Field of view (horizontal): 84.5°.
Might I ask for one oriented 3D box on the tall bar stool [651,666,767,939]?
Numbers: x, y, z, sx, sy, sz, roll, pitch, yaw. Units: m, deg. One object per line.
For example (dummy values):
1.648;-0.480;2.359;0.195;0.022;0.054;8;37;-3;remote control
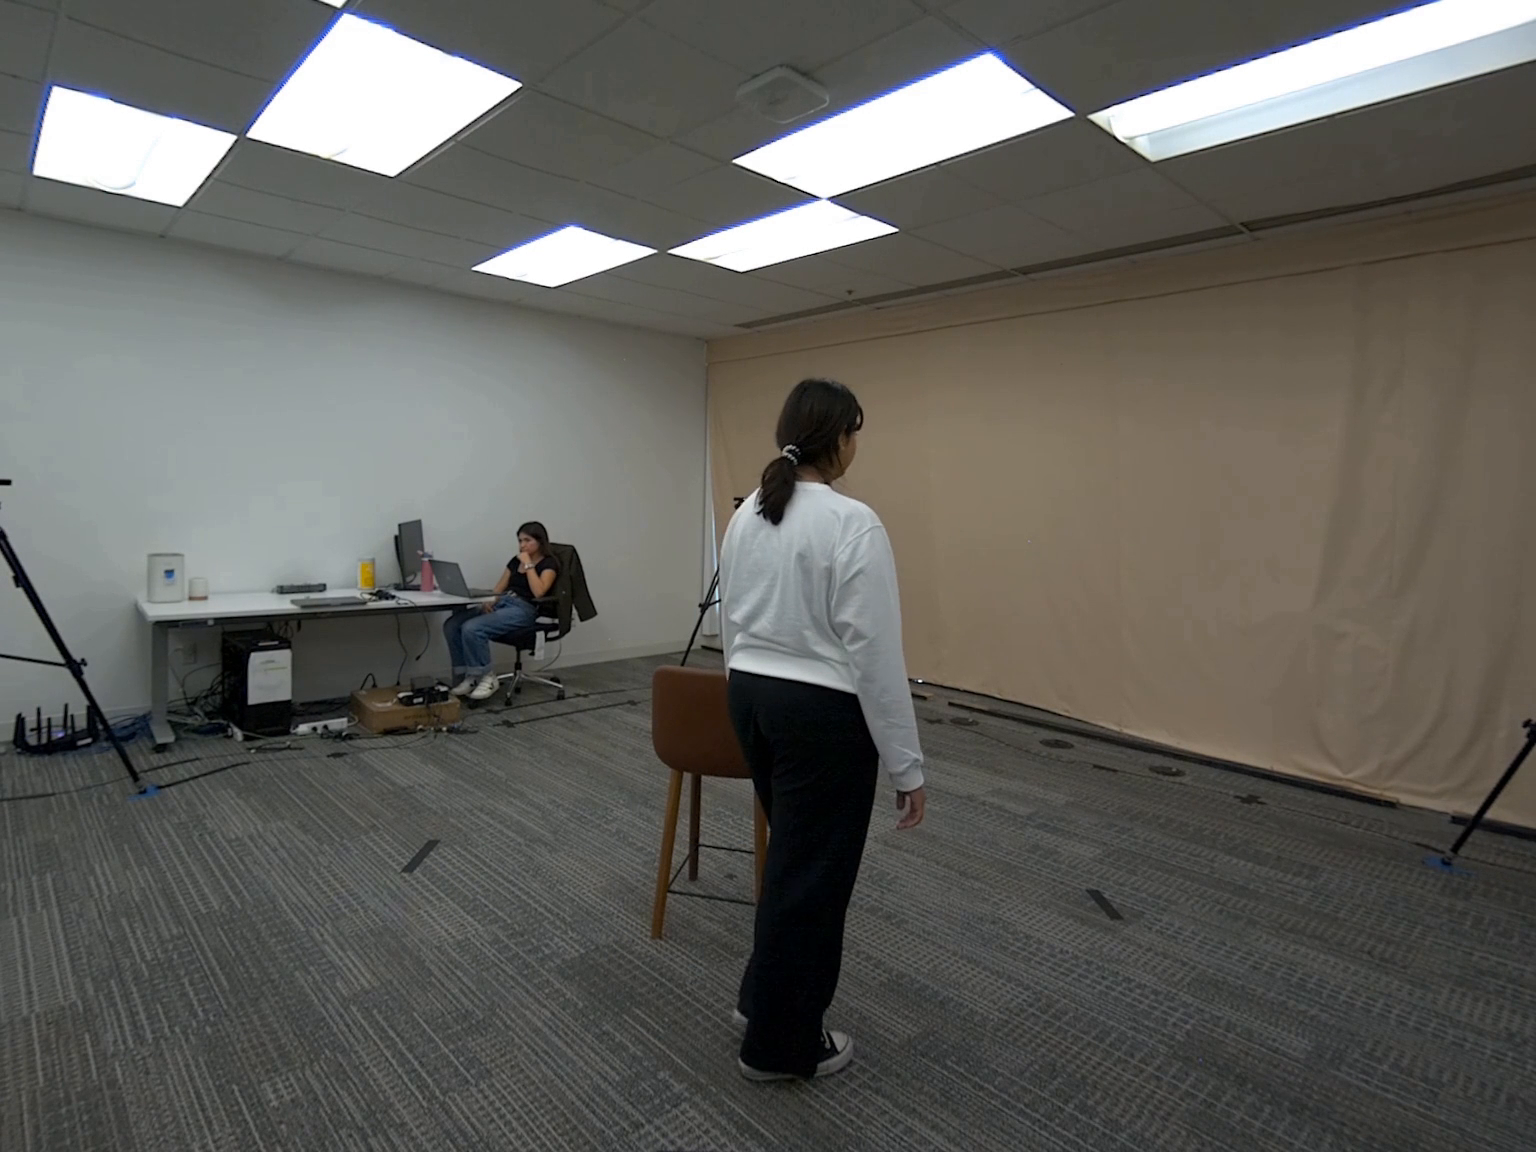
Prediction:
-0.135;0.705;2.785;0.462;0.886;0.463;2;5;16;tall bar stool
